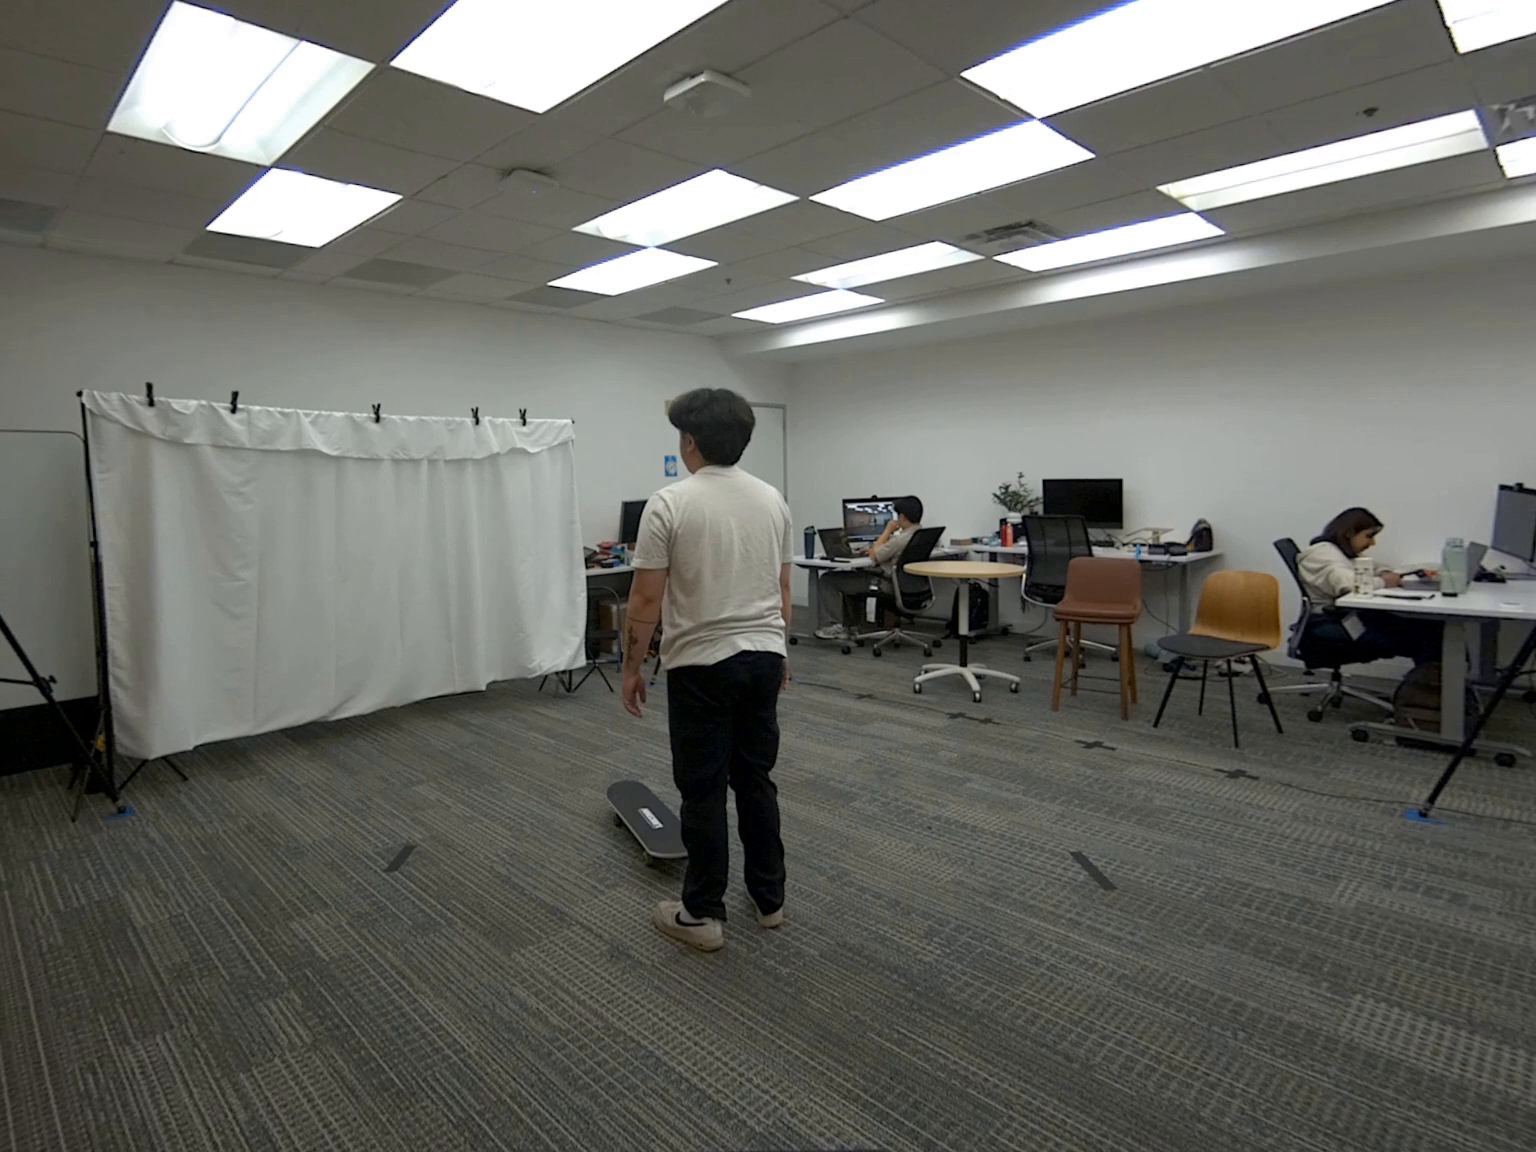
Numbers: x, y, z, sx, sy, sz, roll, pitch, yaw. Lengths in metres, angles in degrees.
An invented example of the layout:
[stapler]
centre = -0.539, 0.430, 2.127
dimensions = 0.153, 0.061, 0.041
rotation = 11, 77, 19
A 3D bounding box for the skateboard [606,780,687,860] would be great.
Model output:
[skateboard]
centre = -0.449, 0.970, 3.307
dimensions = 0.189, 0.110, 0.805
rotation = -4, 7, -25
